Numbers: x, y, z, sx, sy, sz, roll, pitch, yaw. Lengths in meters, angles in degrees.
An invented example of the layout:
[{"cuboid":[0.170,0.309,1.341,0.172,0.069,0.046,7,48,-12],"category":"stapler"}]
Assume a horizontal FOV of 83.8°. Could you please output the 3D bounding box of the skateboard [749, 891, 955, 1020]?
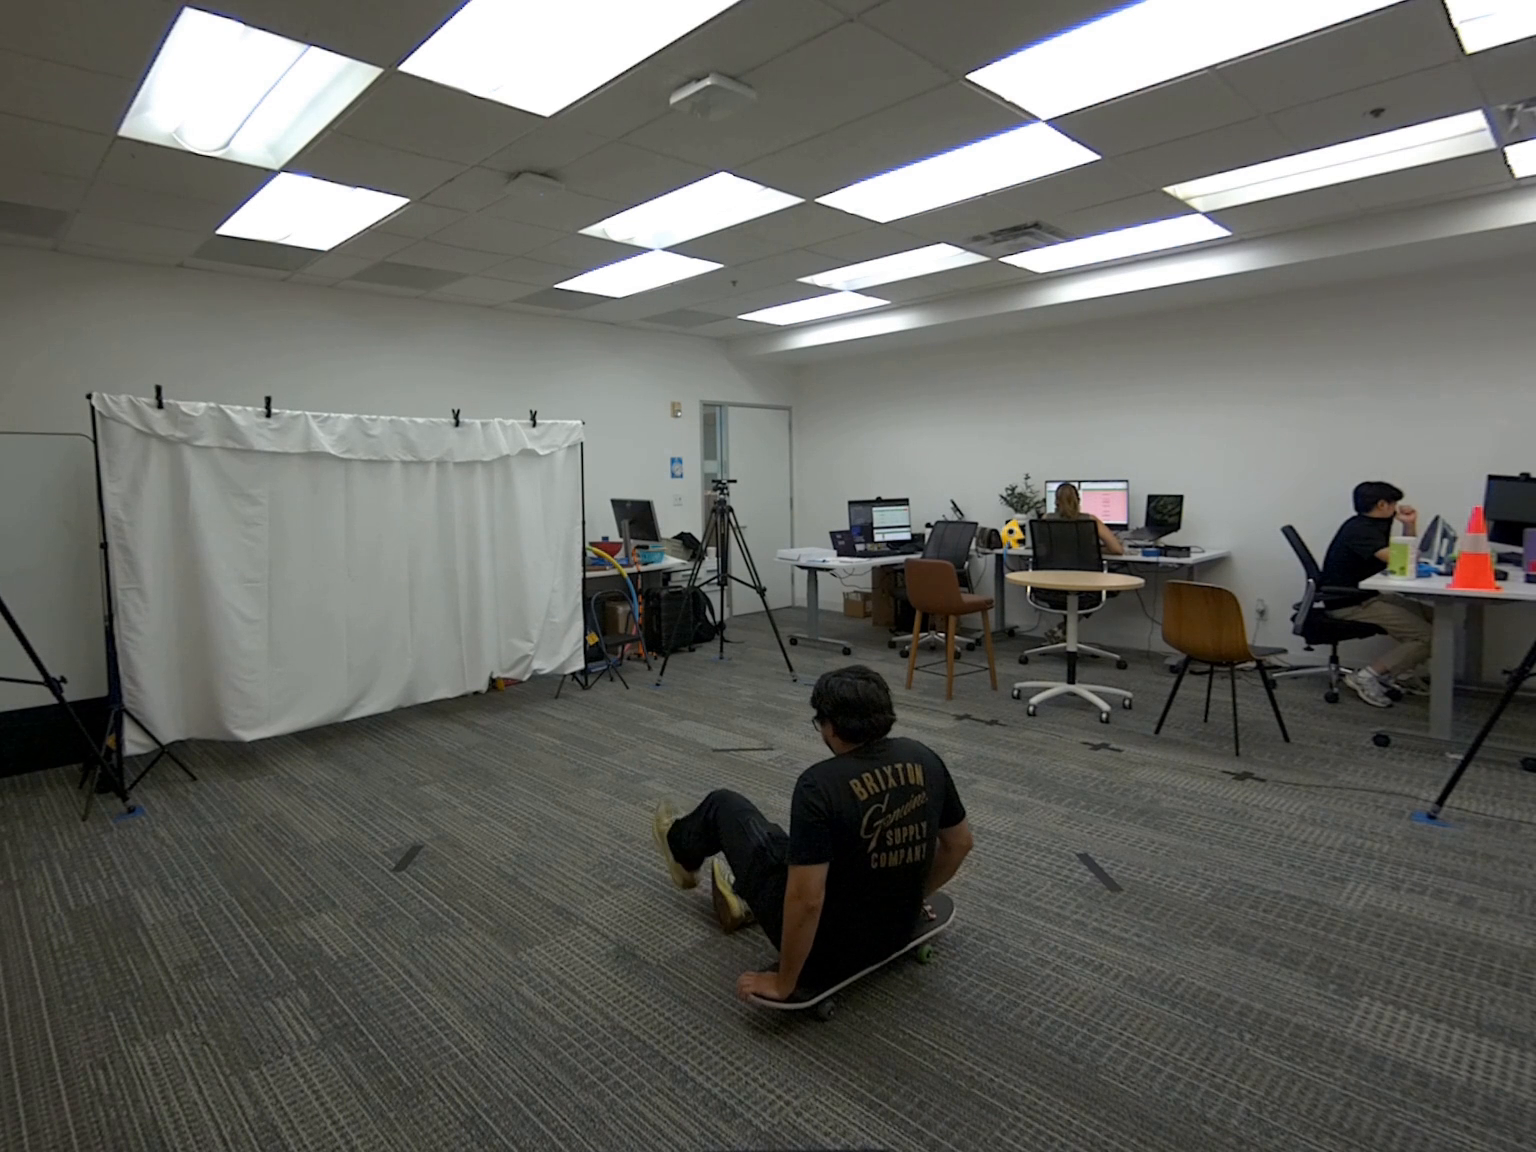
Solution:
[{"cuboid":[0.249,1.061,2.407,0.765,0.110,0.199,-5,6,-36],"category":"skateboard"}]
